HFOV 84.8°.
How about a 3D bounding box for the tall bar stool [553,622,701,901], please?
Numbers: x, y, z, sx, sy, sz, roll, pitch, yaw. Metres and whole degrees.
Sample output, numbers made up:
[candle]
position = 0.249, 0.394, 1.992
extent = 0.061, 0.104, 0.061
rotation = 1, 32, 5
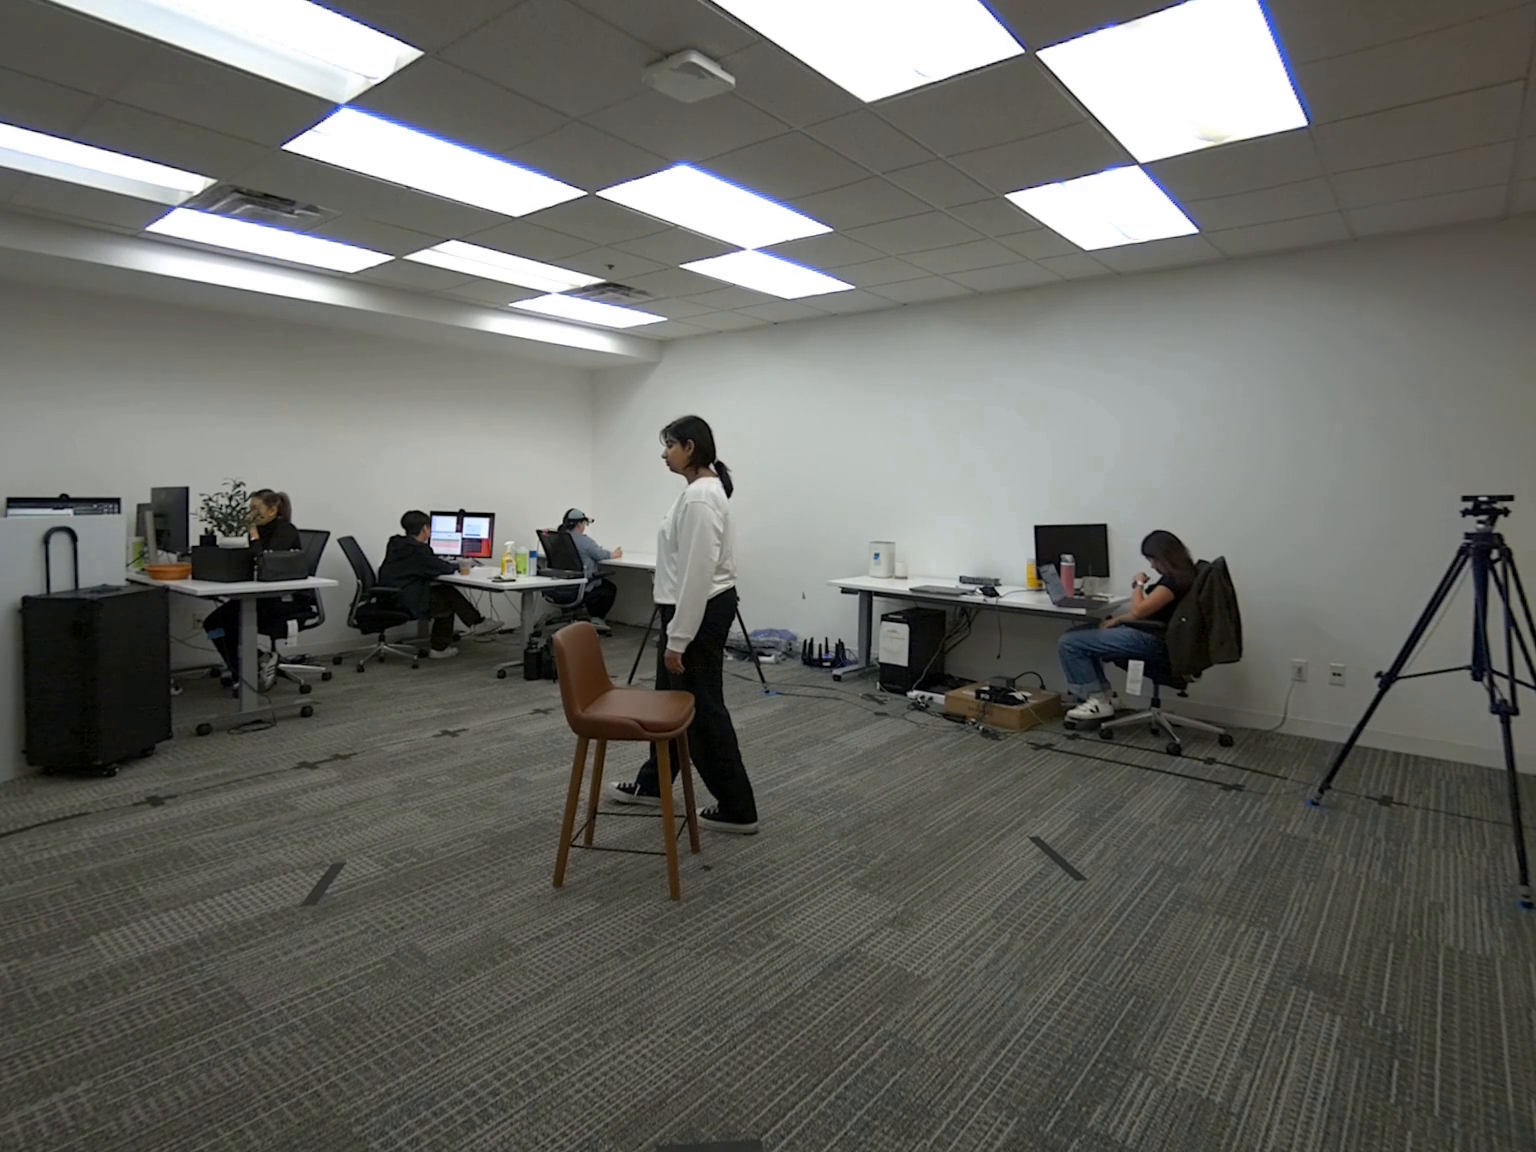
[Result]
[tall bar stool]
position = -0.506, 0.632, 3.066
extent = 0.473, 0.887, 0.453
rotation = 0, 3, 9
